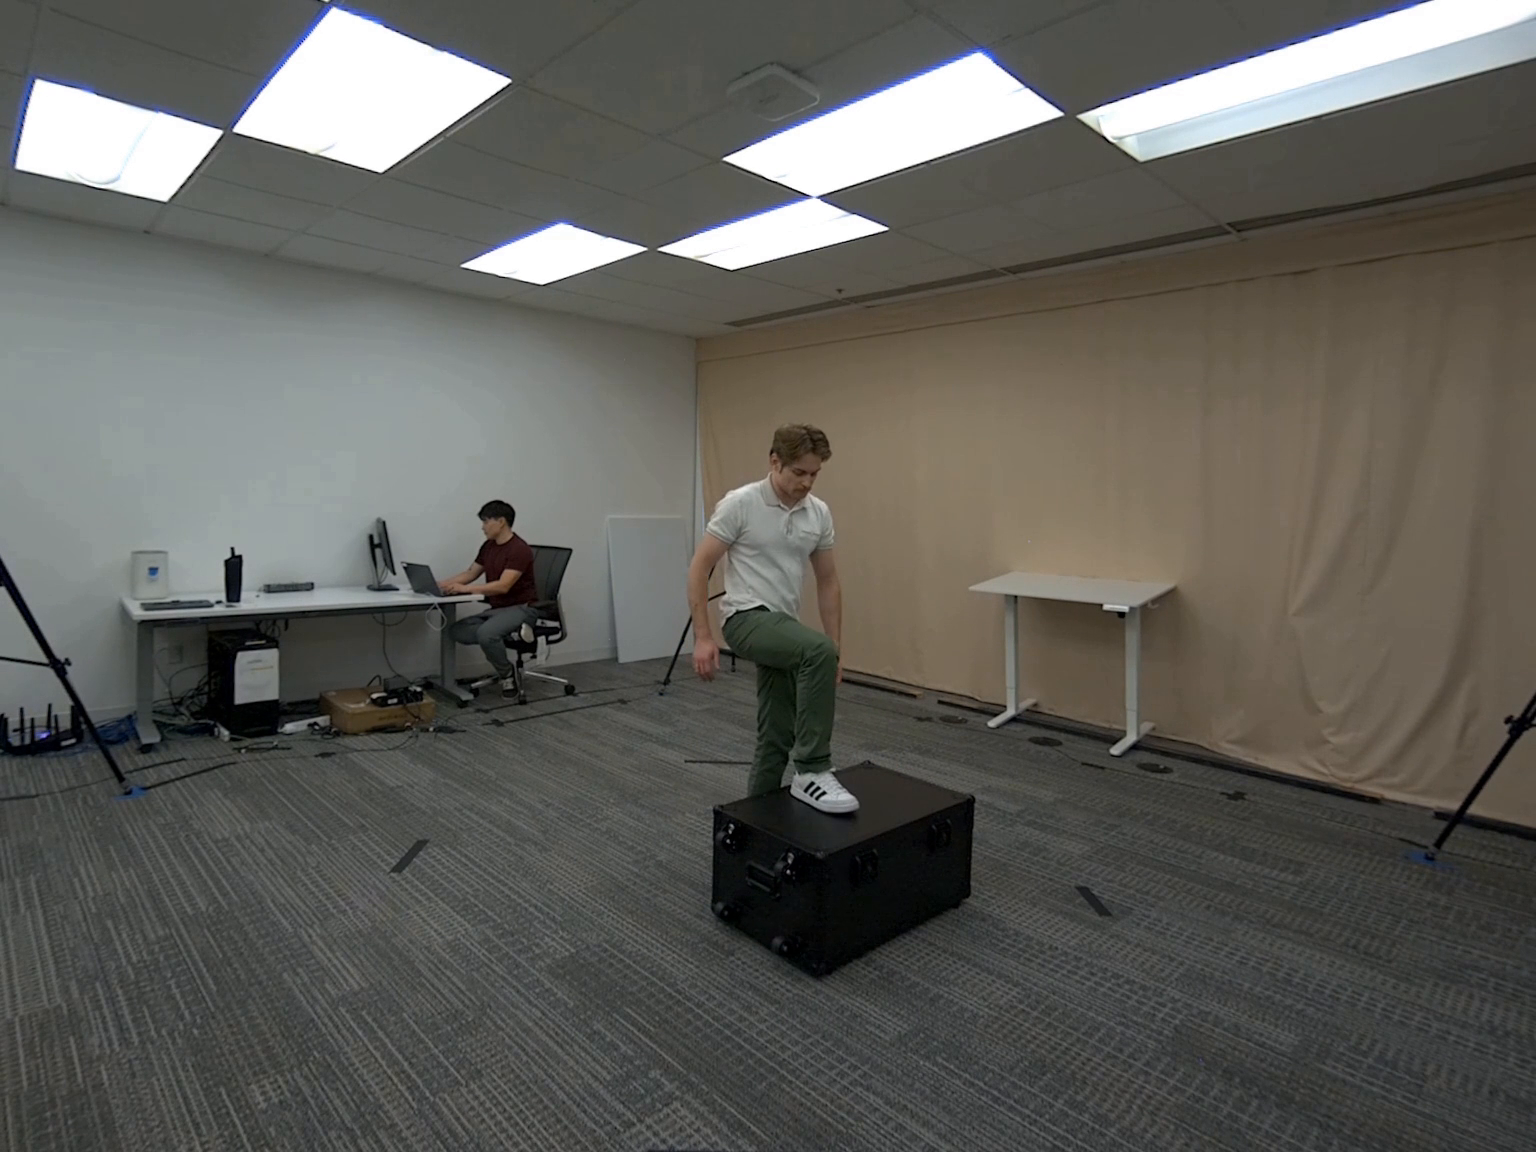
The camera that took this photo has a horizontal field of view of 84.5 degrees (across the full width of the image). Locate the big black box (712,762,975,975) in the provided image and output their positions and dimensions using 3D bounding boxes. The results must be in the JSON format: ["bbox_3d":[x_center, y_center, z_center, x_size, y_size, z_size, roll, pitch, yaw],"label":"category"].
[{"bbox_3d":[0.232,0.948,2.823,0.841,0.395,0.535,-2,6,-43],"label":"big black box"}]
